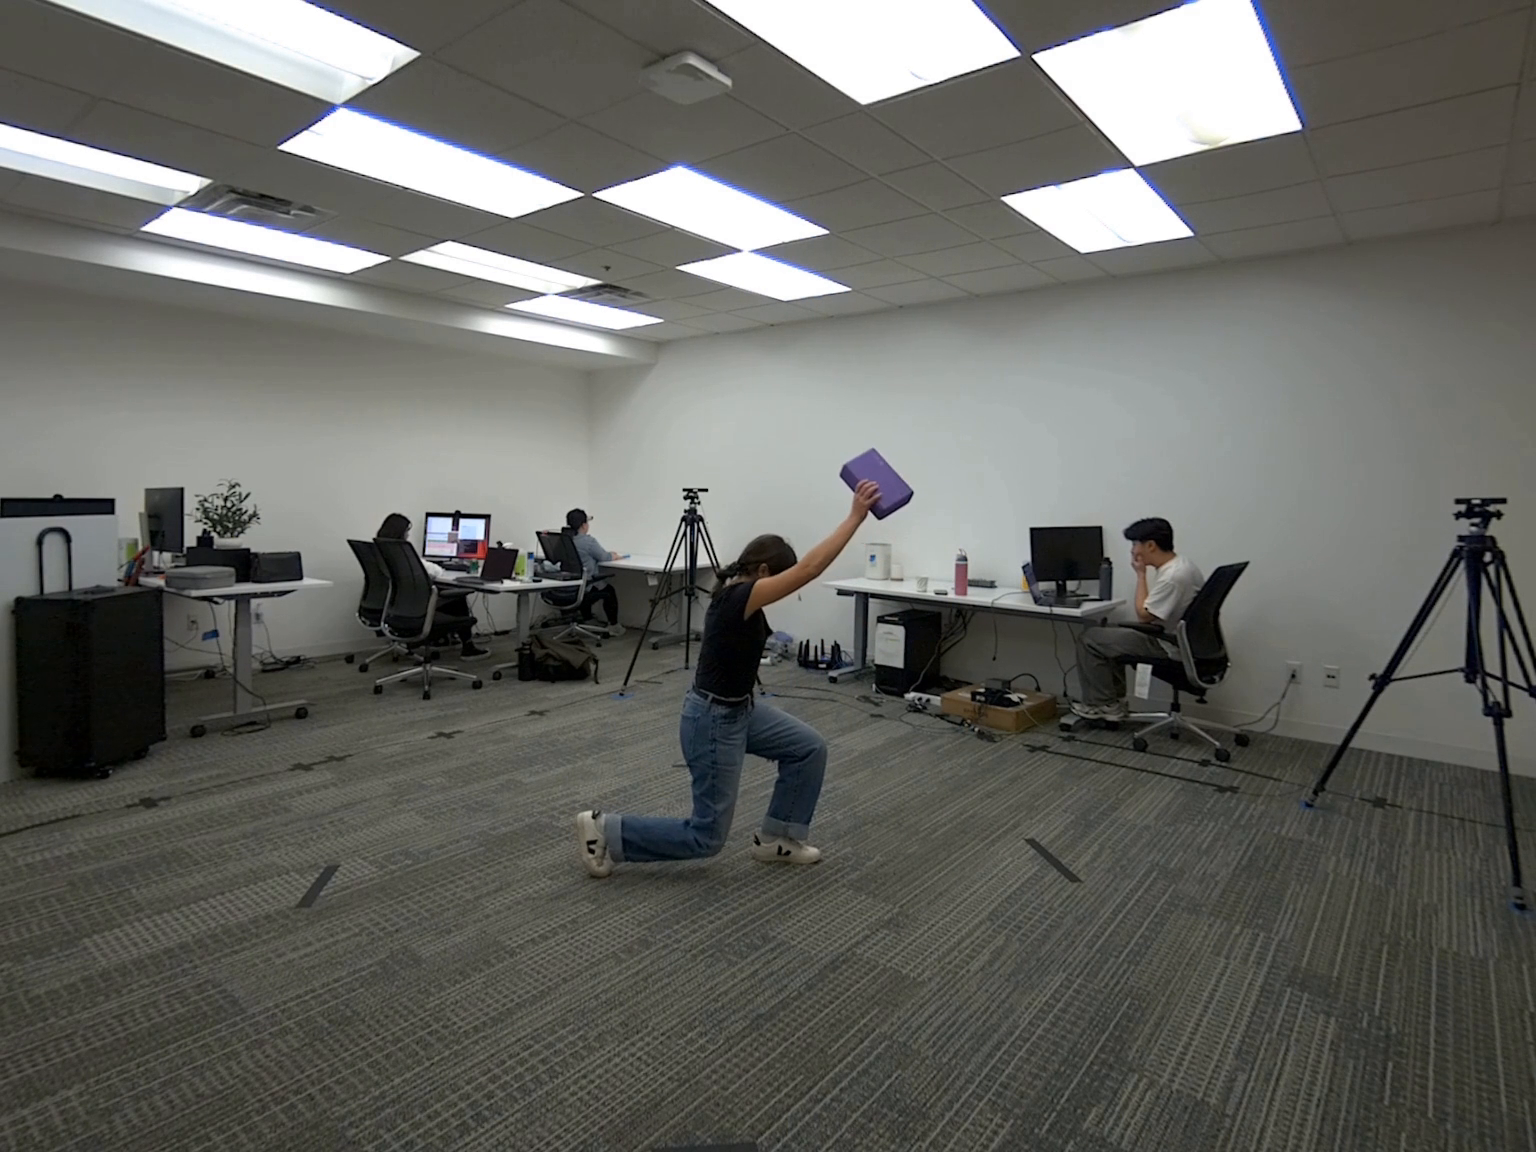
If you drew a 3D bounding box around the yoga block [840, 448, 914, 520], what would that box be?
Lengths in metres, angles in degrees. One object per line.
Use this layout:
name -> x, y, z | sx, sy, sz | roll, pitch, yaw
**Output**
yoga block -> 0.392, -0.331, 2.989 | 0.148, 0.235, 0.075 | -31, -20, -20
